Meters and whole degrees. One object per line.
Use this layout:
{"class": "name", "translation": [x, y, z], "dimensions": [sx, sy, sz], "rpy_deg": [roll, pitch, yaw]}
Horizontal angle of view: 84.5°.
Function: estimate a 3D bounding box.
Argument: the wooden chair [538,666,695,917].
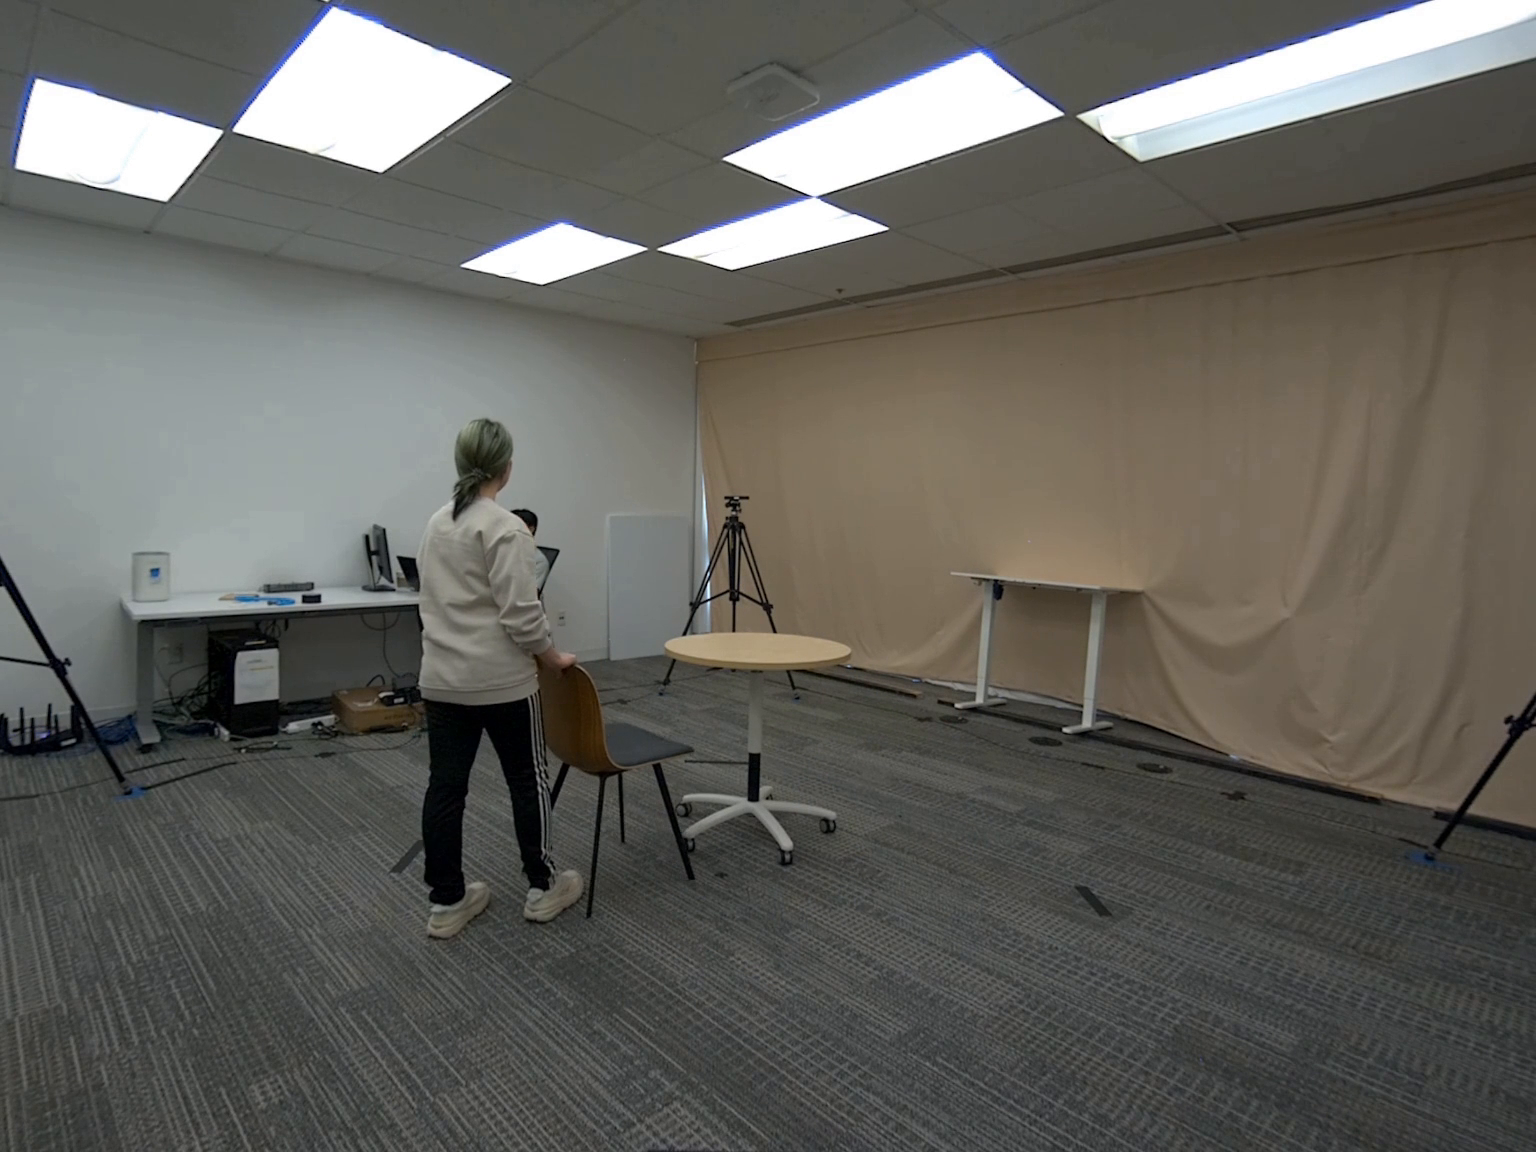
{"class": "wooden chair", "translation": [-0.570, 0.671, 3.055], "dimensions": [0.512, 0.873, 0.490], "rpy_deg": [-8, 8, -43]}
